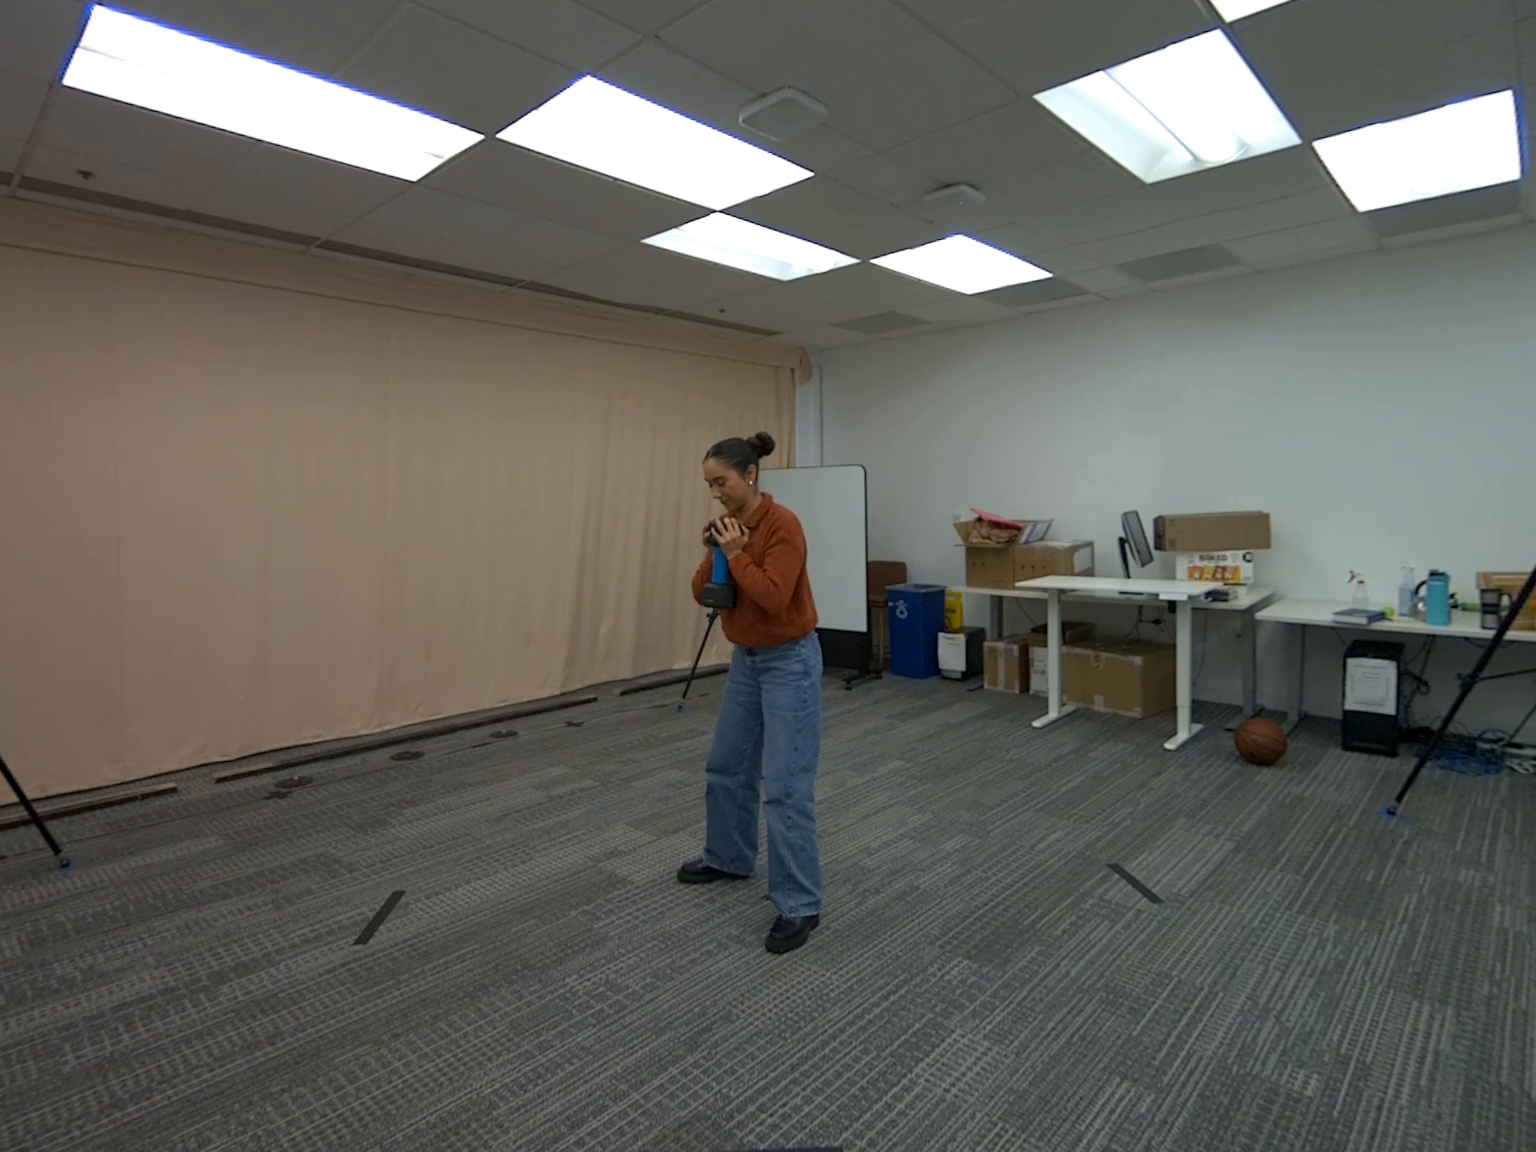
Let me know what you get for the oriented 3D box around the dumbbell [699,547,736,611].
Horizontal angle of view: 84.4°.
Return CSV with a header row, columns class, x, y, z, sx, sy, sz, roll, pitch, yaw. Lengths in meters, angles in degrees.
class,x,y,z,sx,sy,sz,roll,pitch,yaw
dumbbell,-0.150,-0.028,2.839,0.127,0.294,0.105,1,-4,41
